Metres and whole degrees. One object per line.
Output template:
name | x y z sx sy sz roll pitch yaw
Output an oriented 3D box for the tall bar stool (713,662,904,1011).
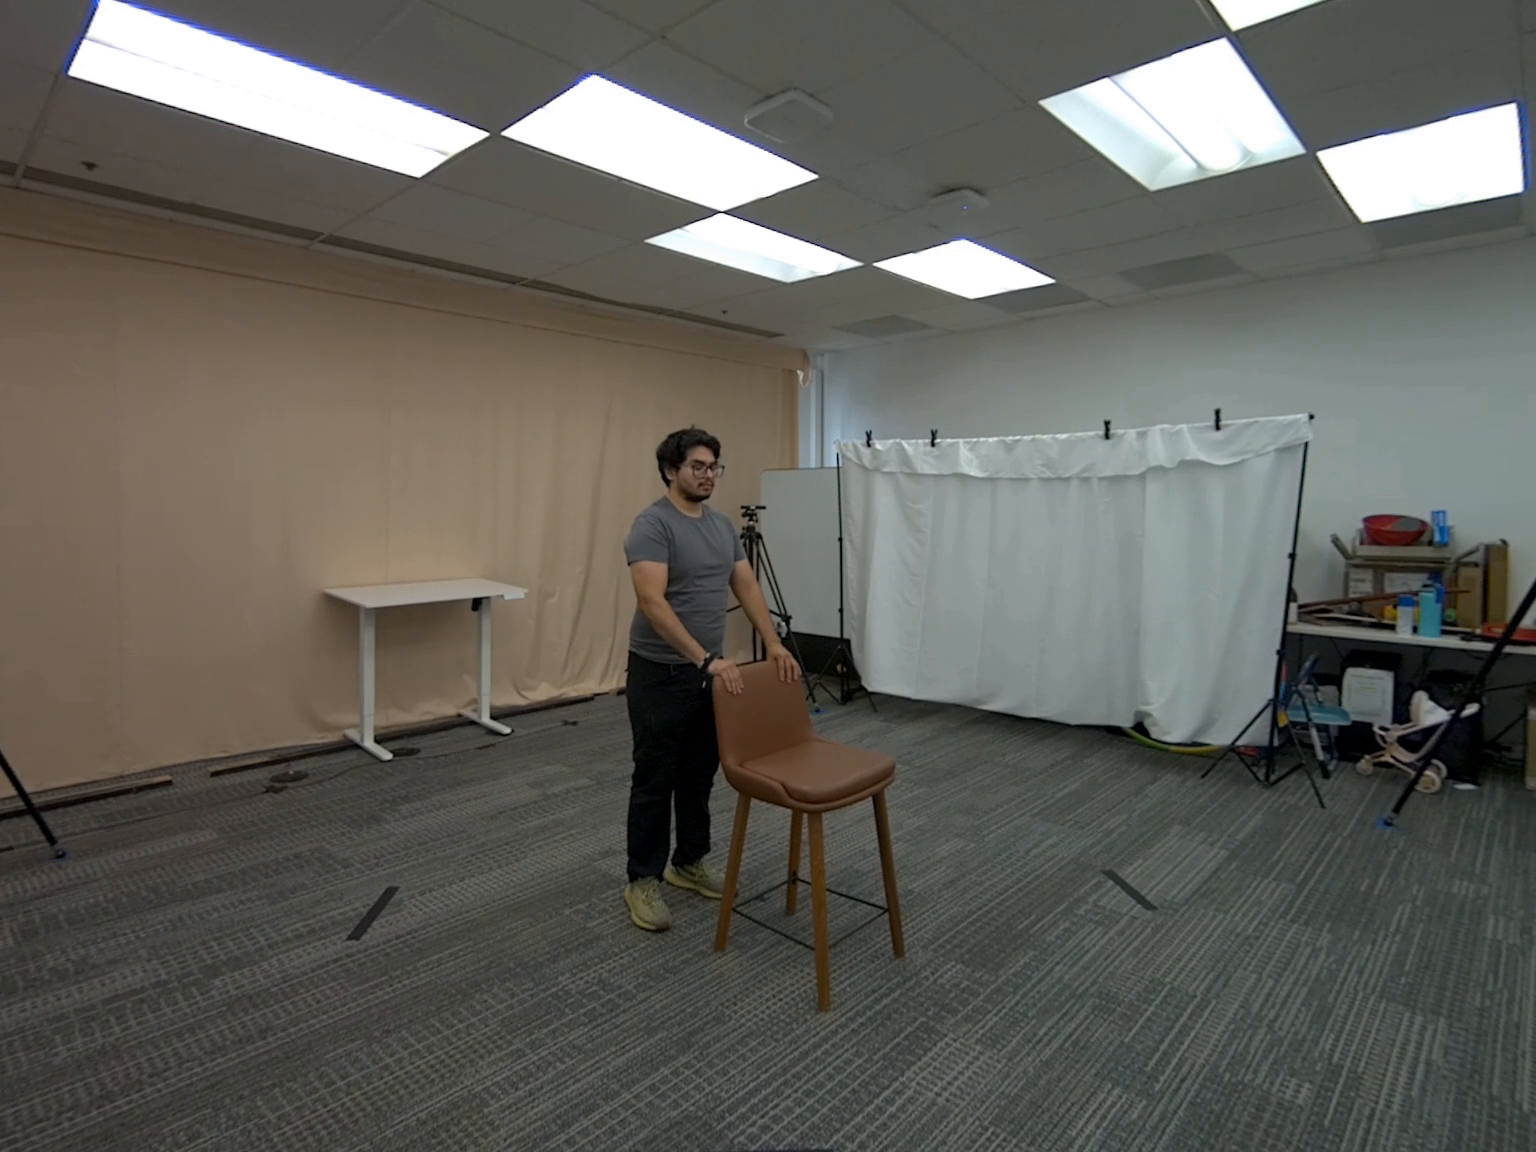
tall bar stool | 0.116 0.738 2.598 0.483 0.888 0.442 0 3 43
